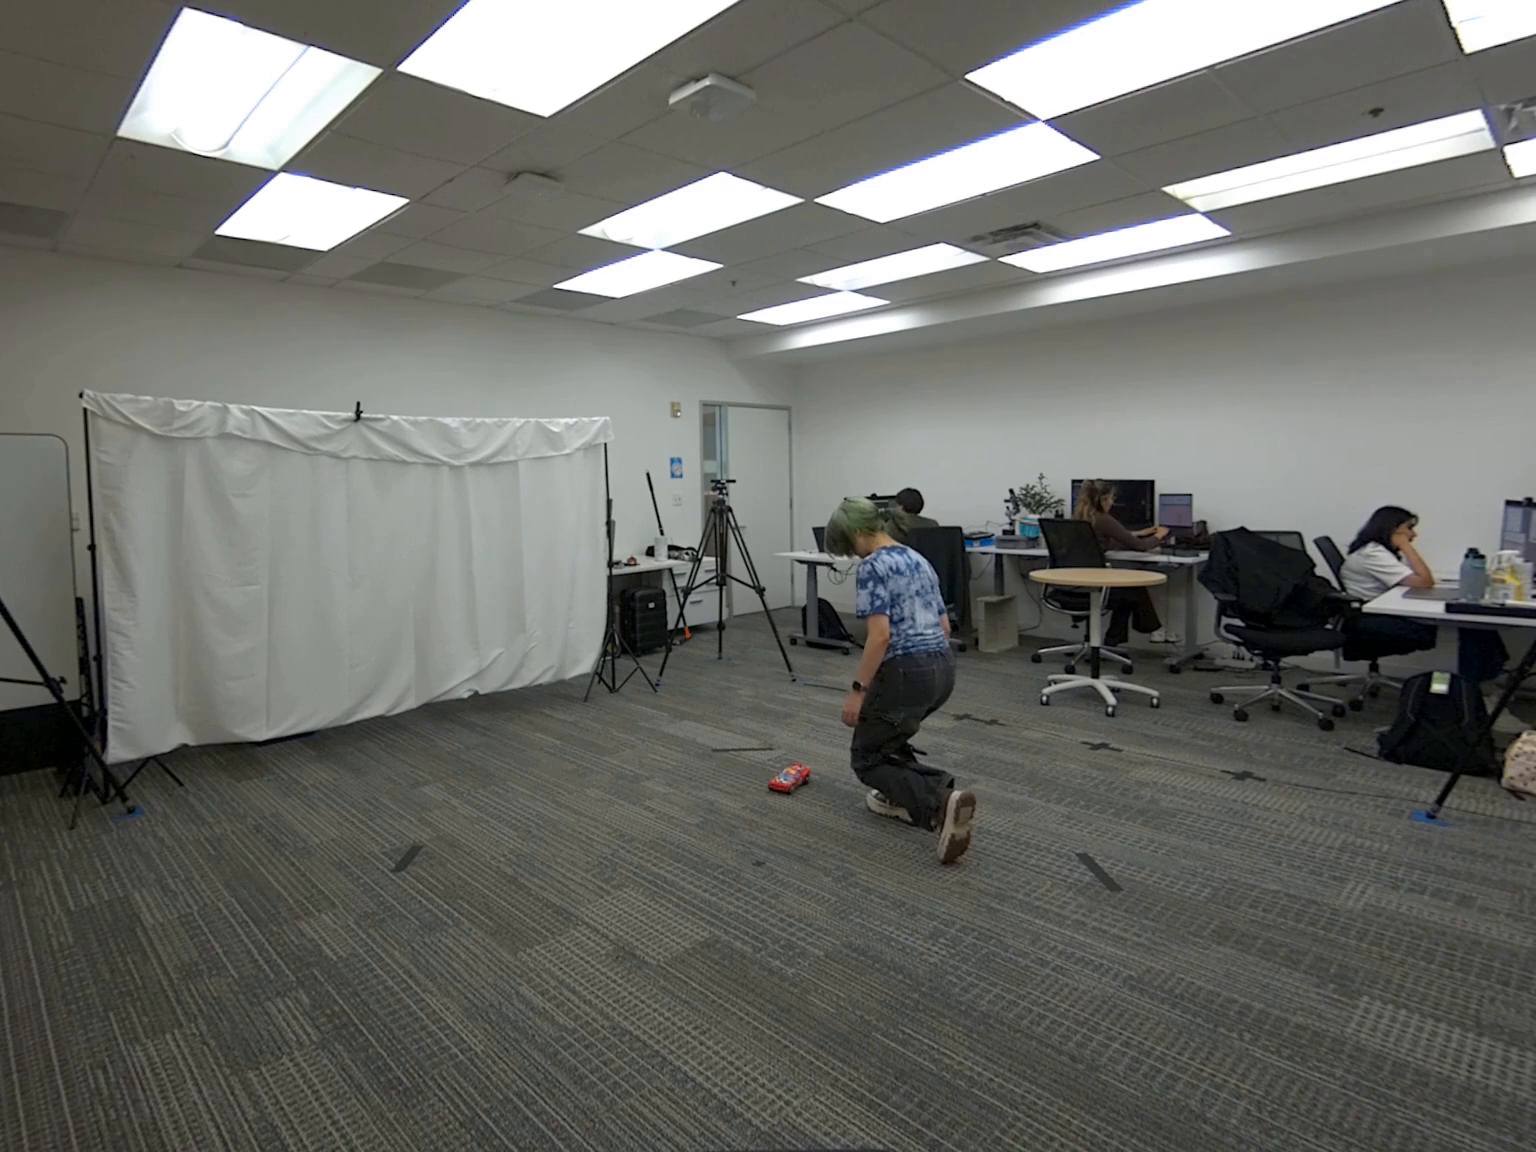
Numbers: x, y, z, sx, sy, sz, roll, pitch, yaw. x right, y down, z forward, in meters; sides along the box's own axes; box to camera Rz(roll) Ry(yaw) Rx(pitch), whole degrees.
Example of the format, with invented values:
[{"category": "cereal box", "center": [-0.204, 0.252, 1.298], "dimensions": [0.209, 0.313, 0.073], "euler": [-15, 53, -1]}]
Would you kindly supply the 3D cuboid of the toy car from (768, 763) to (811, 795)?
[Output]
[{"category": "toy car", "center": [0.105, 0.925, 3.903], "dimensions": [0.134, 0.082, 0.251], "euler": [3, 18, 32]}]
